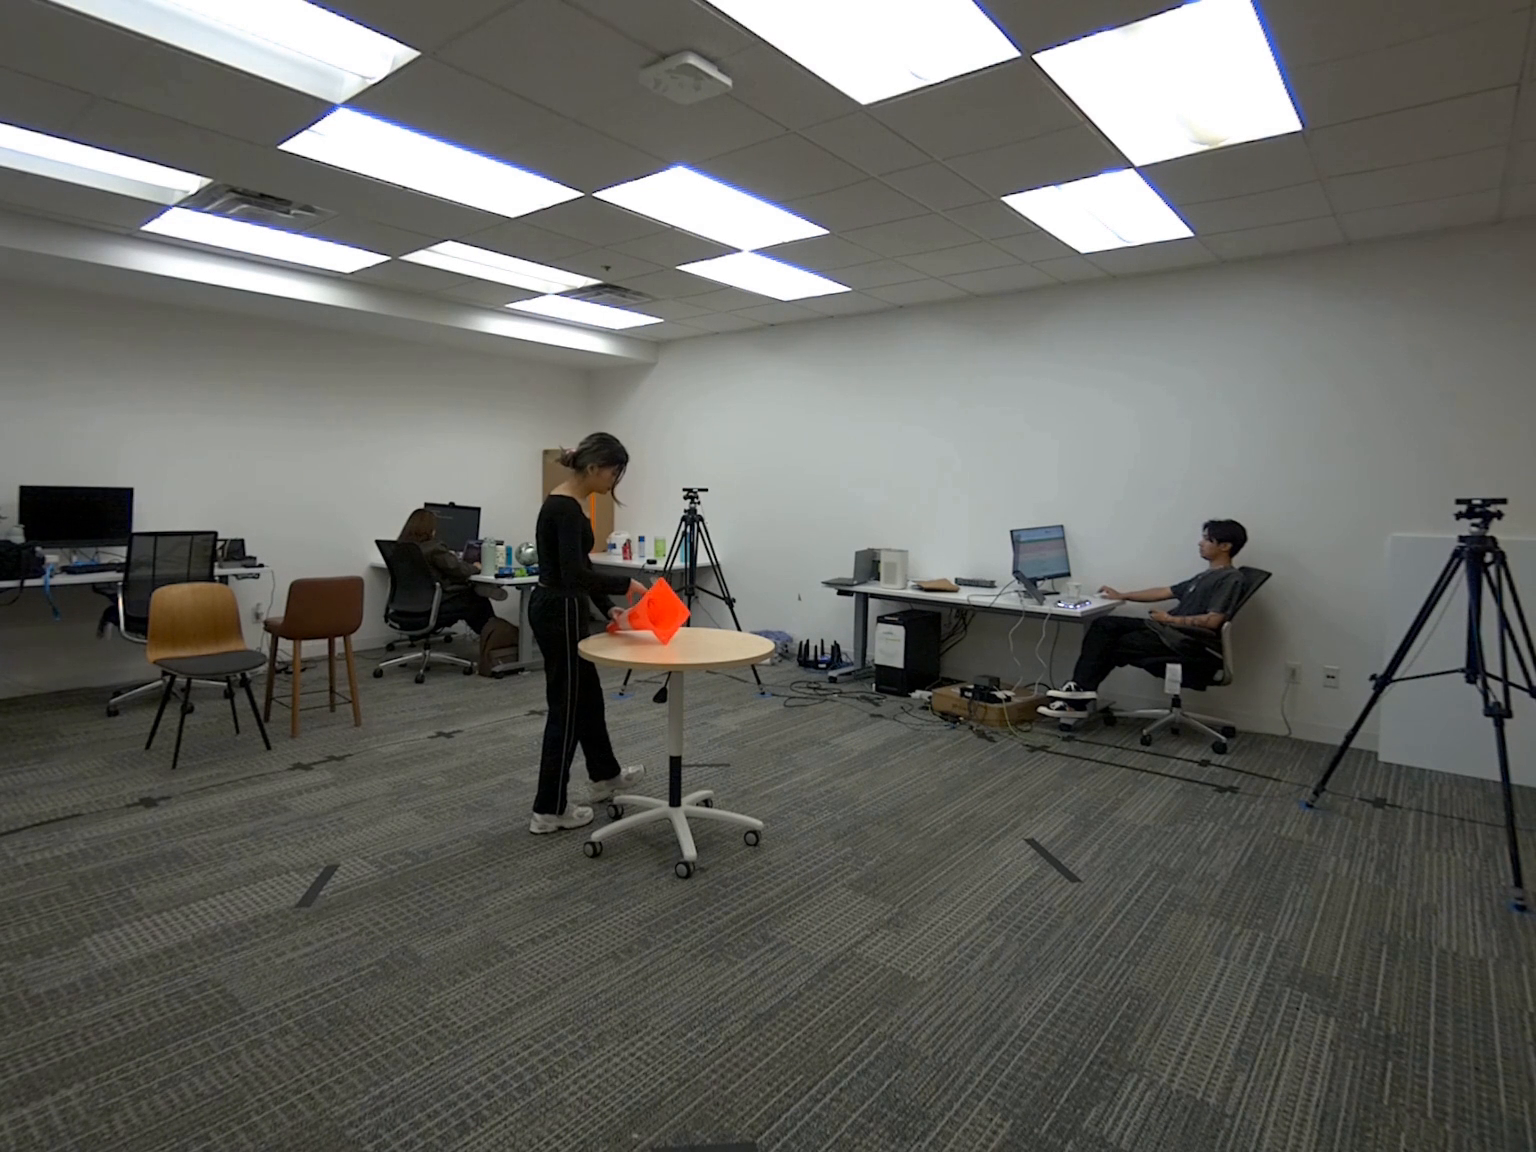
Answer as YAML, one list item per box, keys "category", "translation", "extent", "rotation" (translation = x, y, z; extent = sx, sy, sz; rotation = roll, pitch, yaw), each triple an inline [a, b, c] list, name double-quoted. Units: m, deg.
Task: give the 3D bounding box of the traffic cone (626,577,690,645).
- category: "traffic cone"
  translation: [-0.545, 0.180, 3.464]
  extent: [0.391, 0.199, 0.205]
  rotation: [-20, 23, 47]
